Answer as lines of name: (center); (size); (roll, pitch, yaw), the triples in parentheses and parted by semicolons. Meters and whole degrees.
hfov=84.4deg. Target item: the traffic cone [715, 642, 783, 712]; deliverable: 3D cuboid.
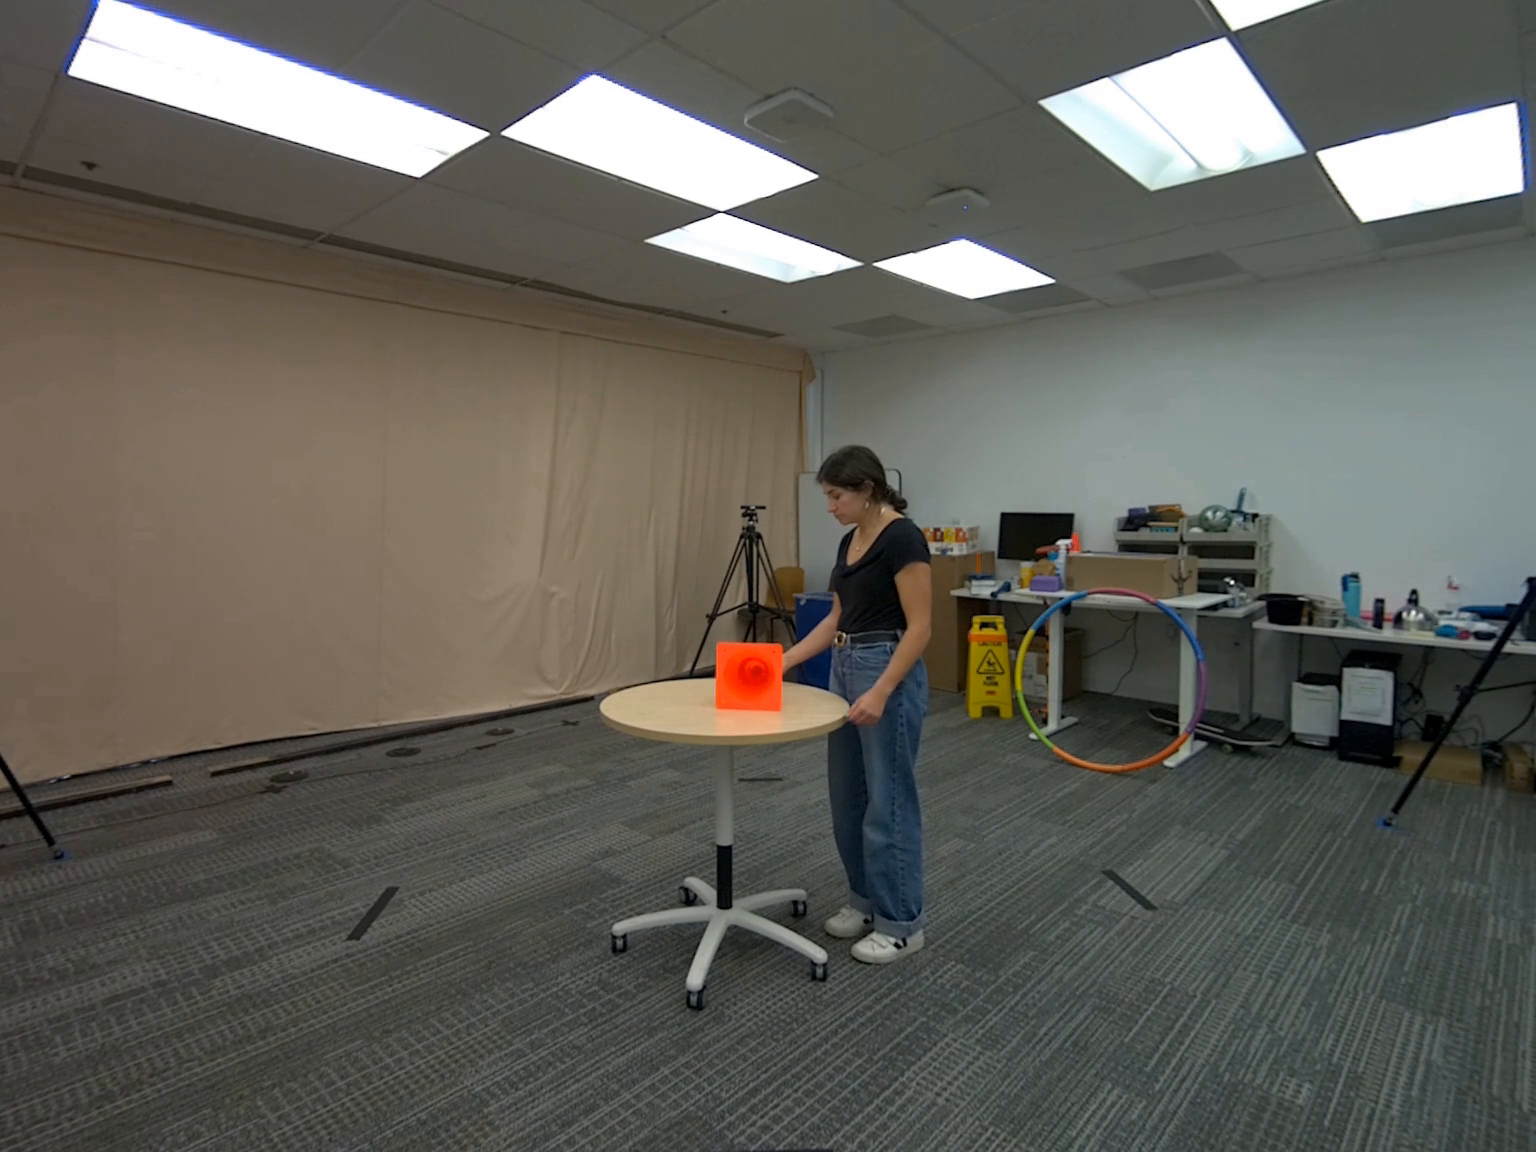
traffic cone: (-0.046, 0.317, 2.717); (0.205, 0.204, 0.383); (-1, -4, -2)
